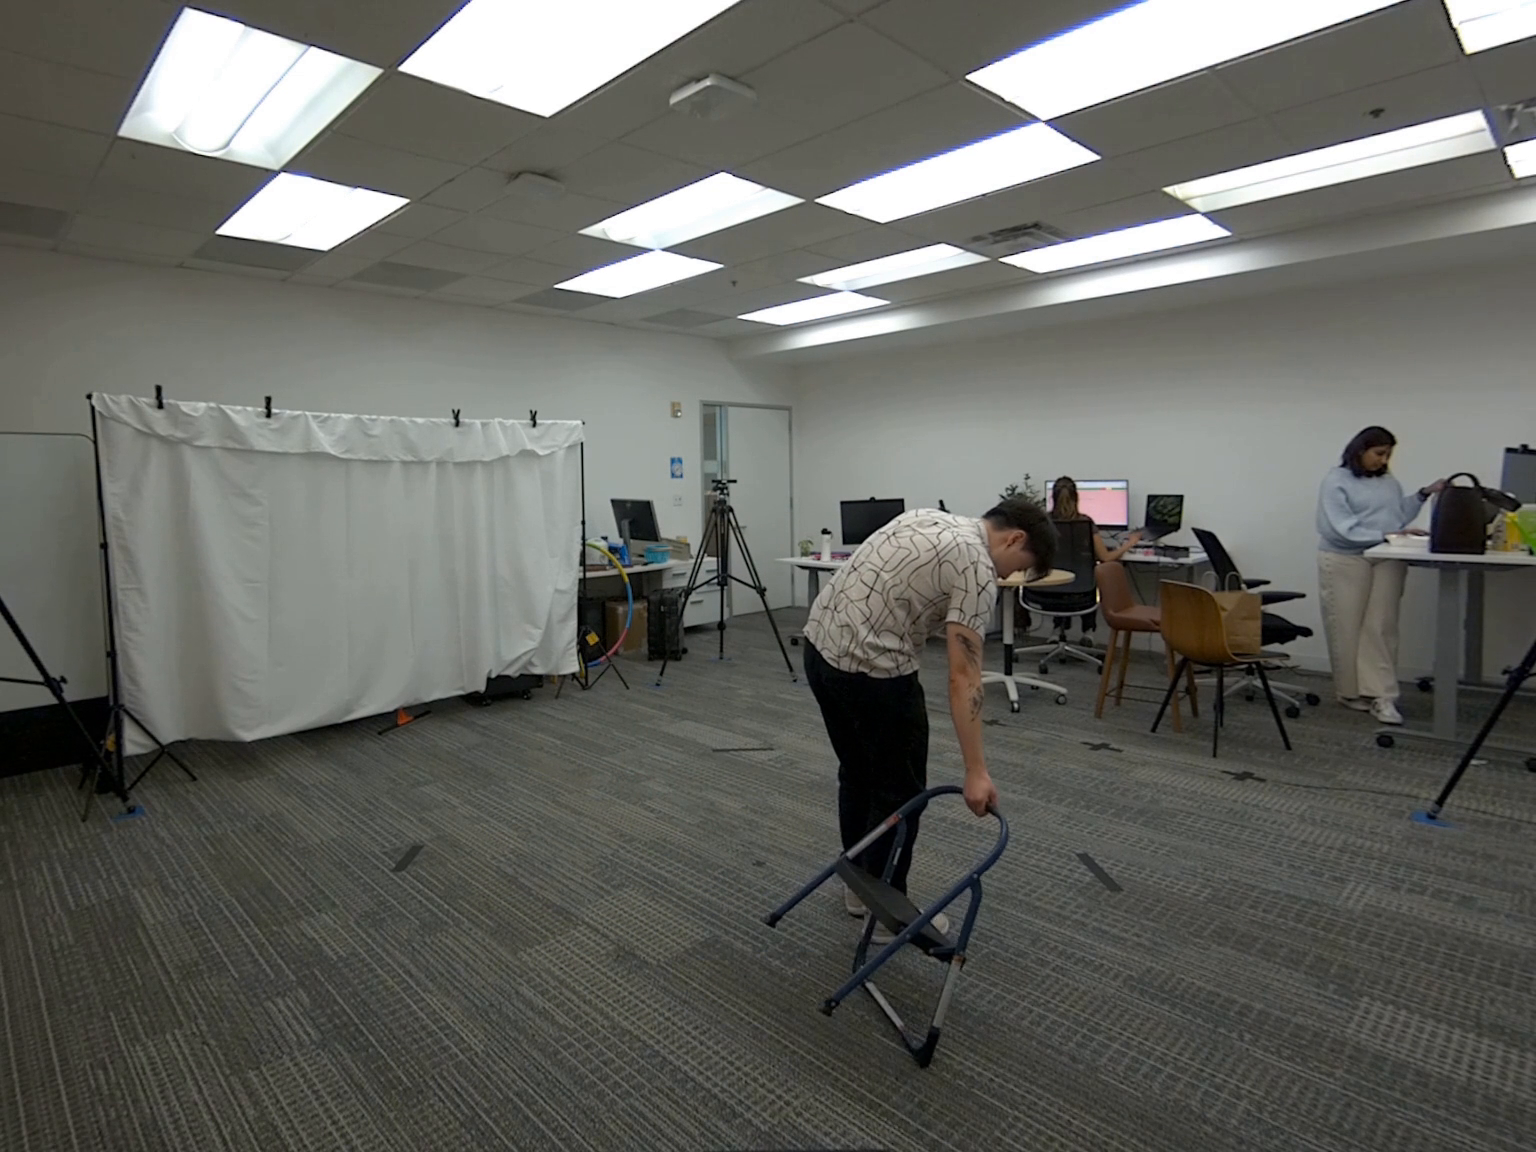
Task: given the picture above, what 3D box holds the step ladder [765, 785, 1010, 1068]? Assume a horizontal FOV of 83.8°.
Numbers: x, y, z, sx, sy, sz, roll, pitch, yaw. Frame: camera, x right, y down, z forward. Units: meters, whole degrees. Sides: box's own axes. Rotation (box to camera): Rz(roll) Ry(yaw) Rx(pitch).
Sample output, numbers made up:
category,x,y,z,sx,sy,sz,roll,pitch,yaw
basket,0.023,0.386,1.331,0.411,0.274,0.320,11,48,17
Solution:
category,x,y,z,sx,sy,sz,roll,pitch,yaw
step ladder,0.348,0.807,2.207,0.342,0.607,0.439,35,-6,-18
